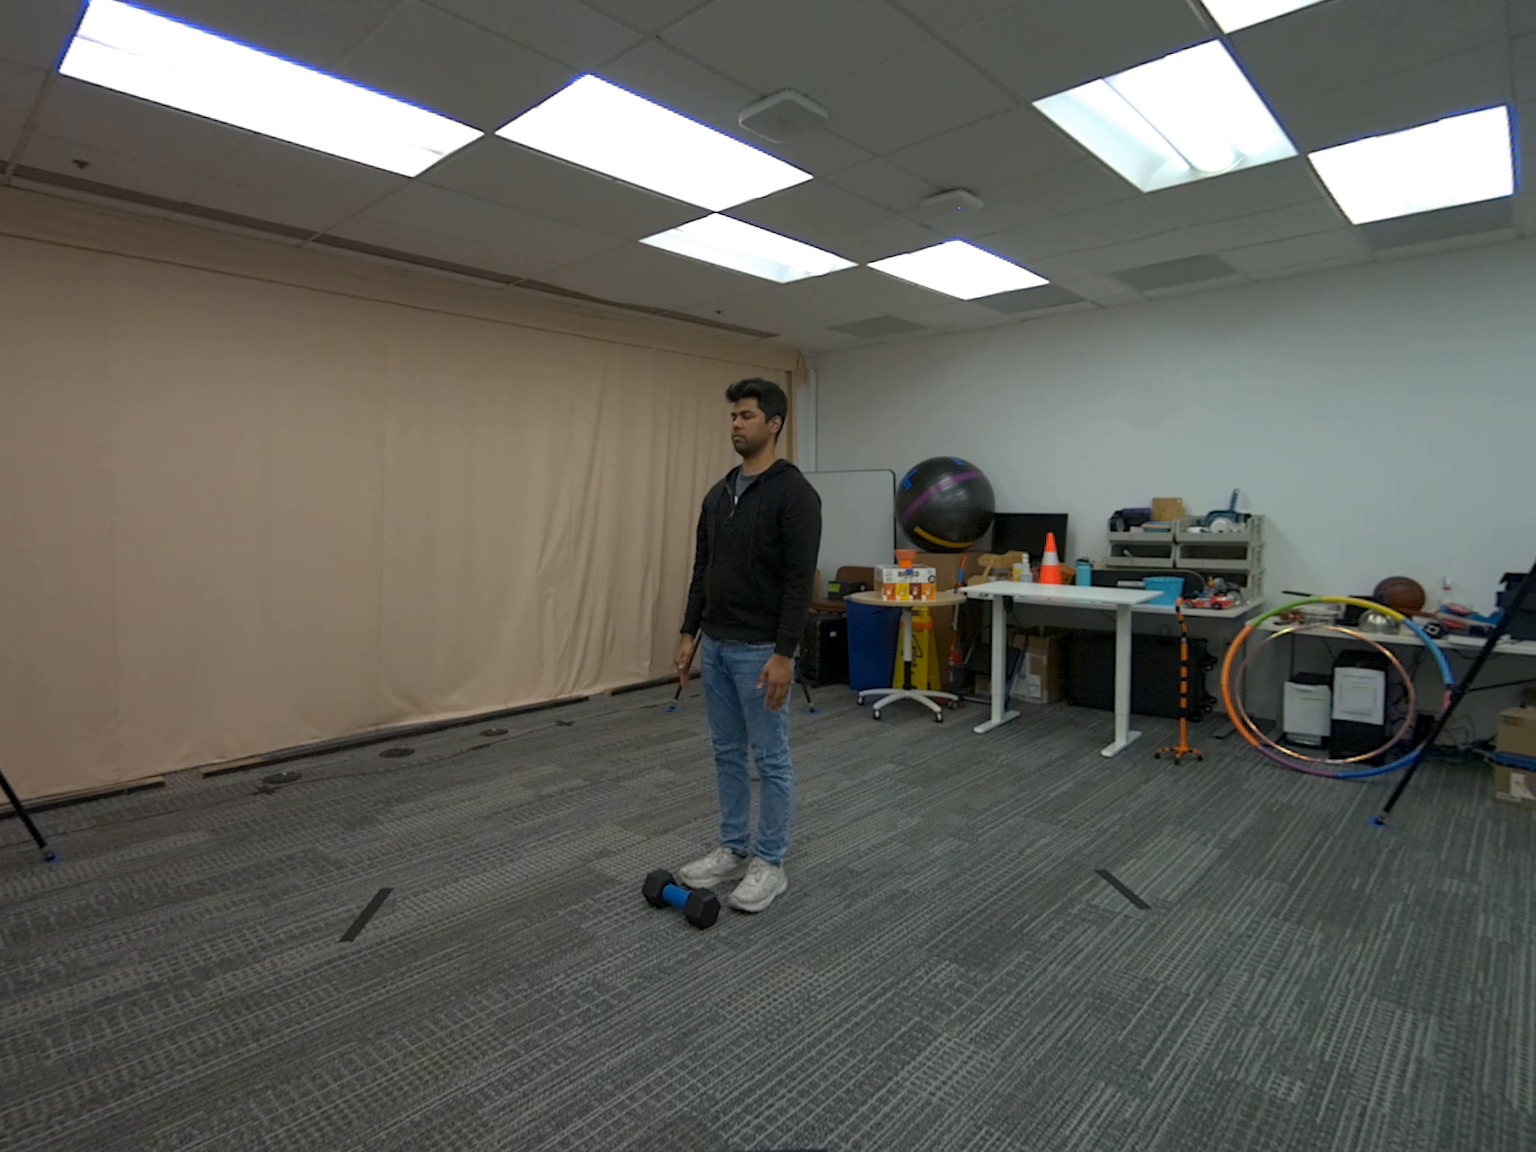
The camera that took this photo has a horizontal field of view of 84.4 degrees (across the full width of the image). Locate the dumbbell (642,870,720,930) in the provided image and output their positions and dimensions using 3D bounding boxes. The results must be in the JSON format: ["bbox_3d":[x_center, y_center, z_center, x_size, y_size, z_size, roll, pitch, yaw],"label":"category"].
[{"bbox_3d":[-0.298,1.101,2.873,0.303,0.120,0.107,4,35,43],"label":"dumbbell"}]
